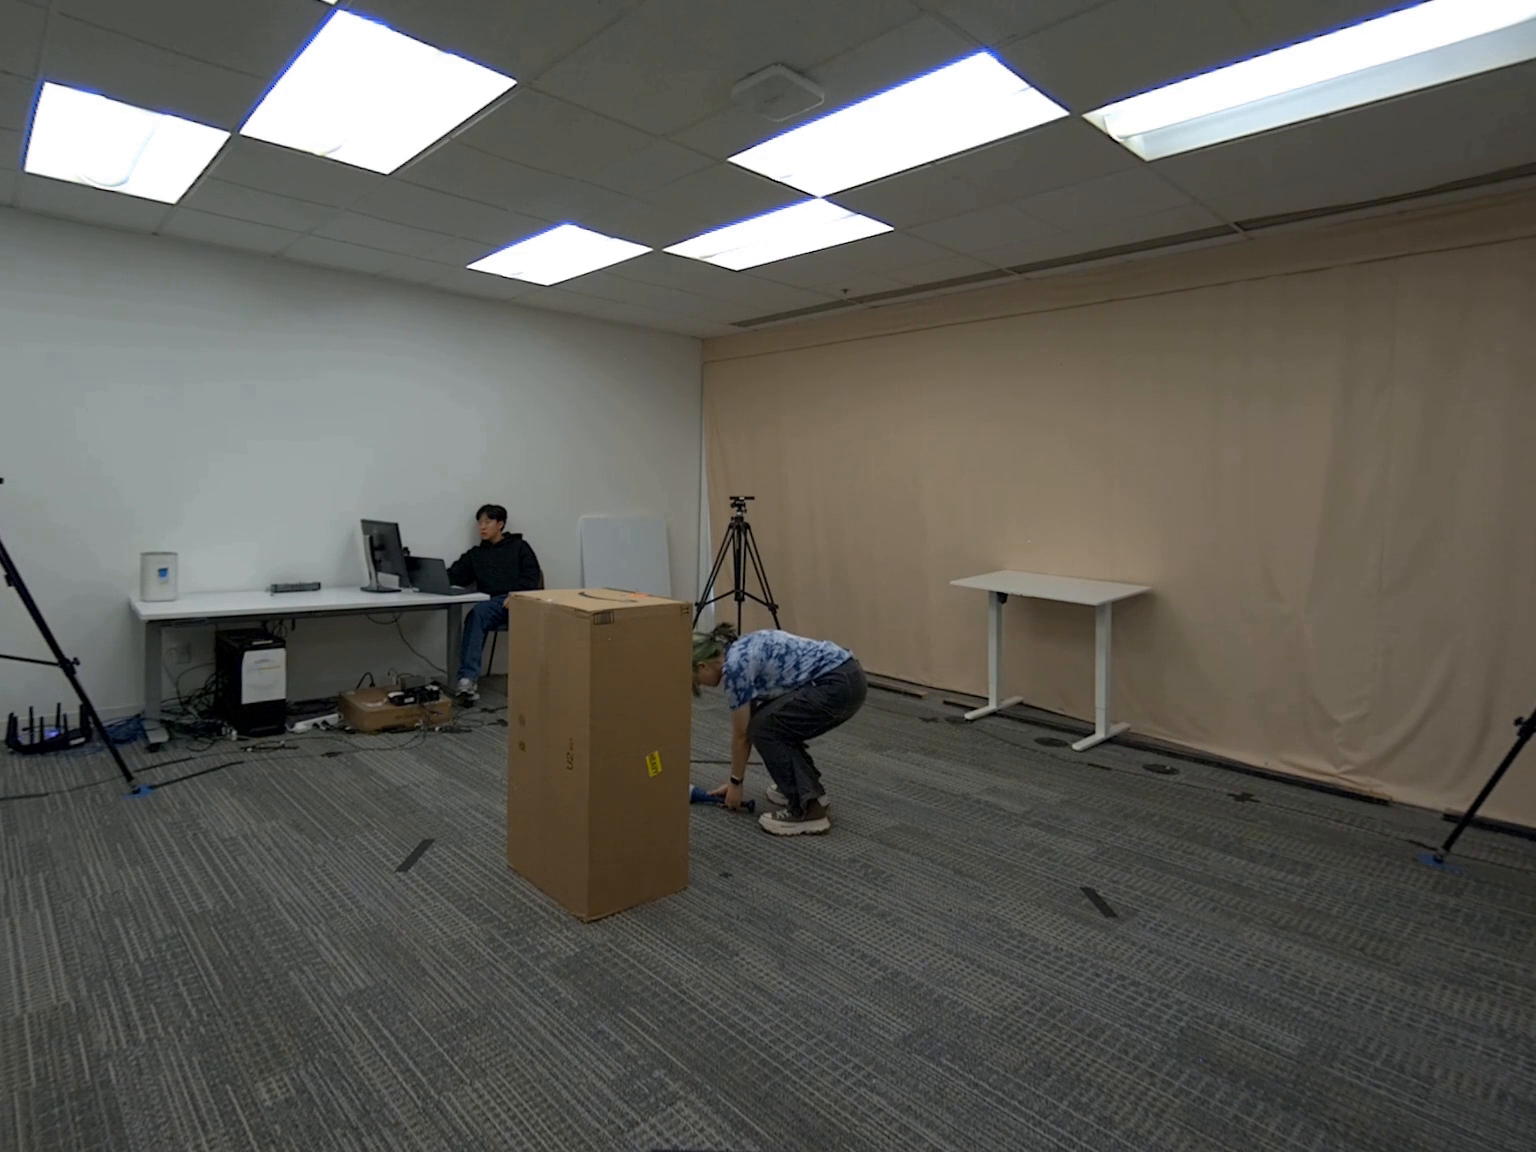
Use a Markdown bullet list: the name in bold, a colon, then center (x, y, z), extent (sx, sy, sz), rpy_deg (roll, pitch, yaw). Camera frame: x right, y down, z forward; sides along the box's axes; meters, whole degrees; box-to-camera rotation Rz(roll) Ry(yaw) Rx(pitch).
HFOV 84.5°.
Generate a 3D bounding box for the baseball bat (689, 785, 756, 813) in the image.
- **baseball bat**: center (-0.326, 0.993, 3.832), extent (0.551, 0.089, 0.088), rpy_deg (6, 5, 19)
